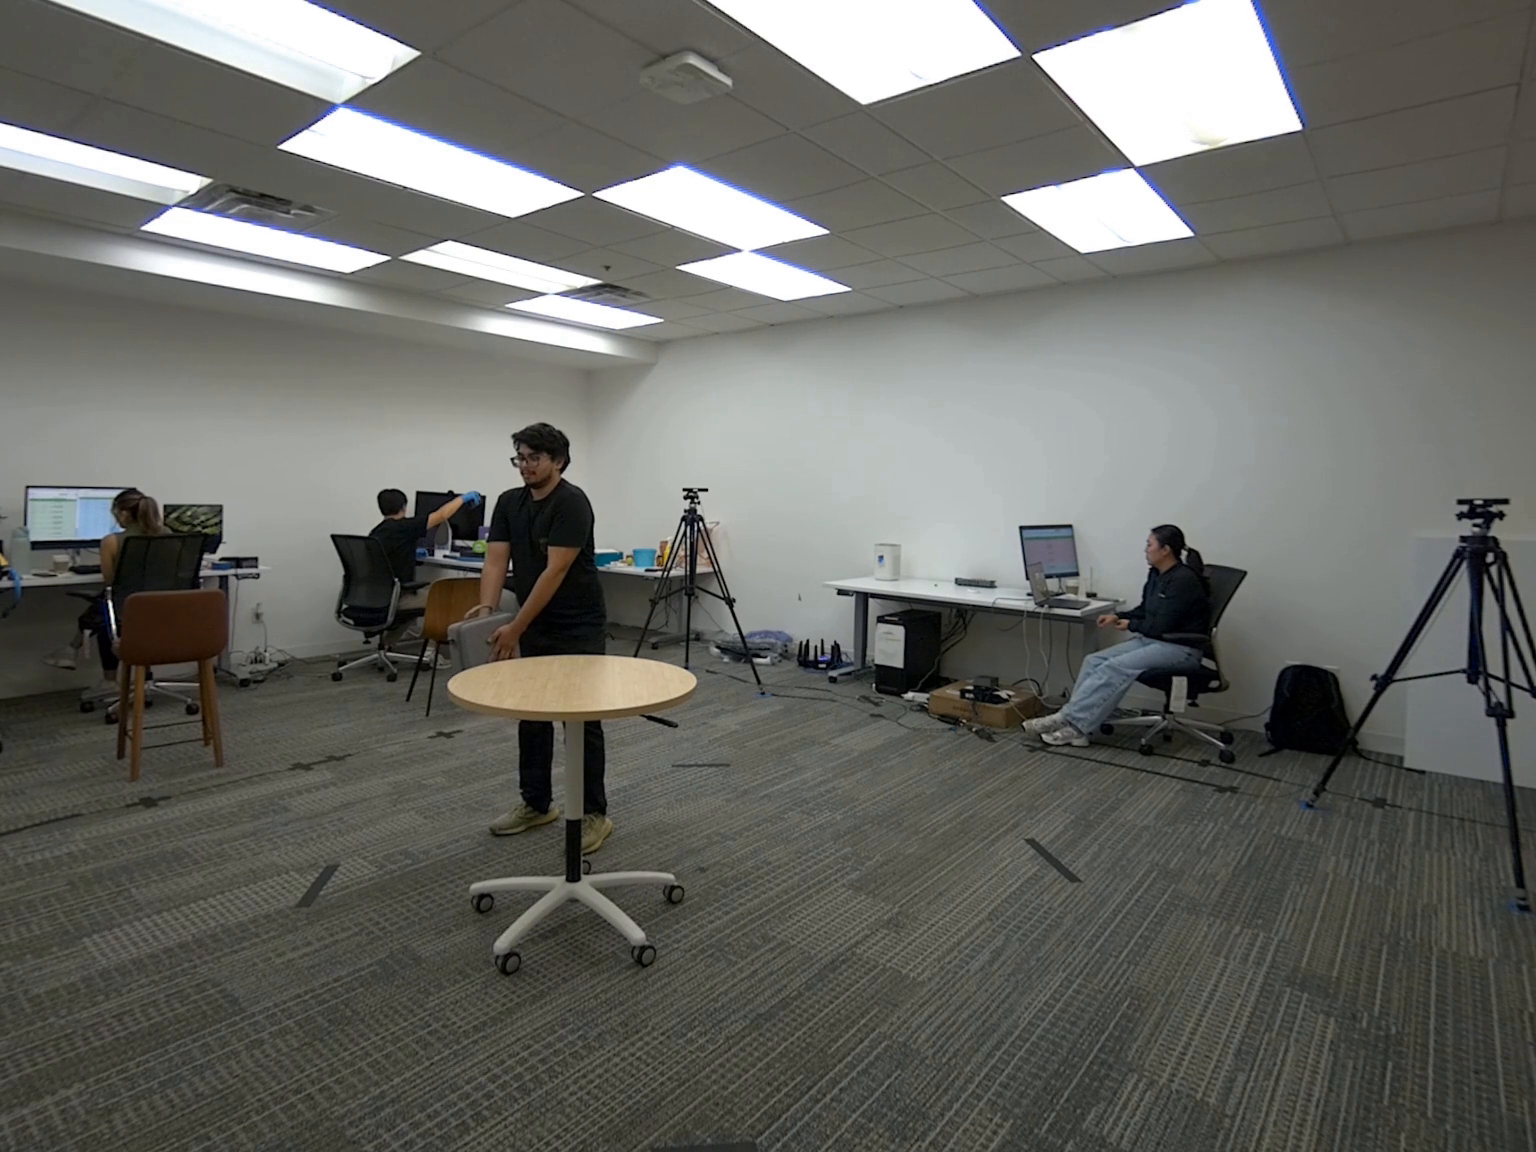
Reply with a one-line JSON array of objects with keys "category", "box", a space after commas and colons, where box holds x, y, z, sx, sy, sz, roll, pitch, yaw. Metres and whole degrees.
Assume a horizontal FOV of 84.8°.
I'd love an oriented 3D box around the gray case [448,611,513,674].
[{"category": "gray case", "box": [-1.056, 0.273, 3.101, 0.107, 0.260, 0.251, -8, 3, 30]}]
